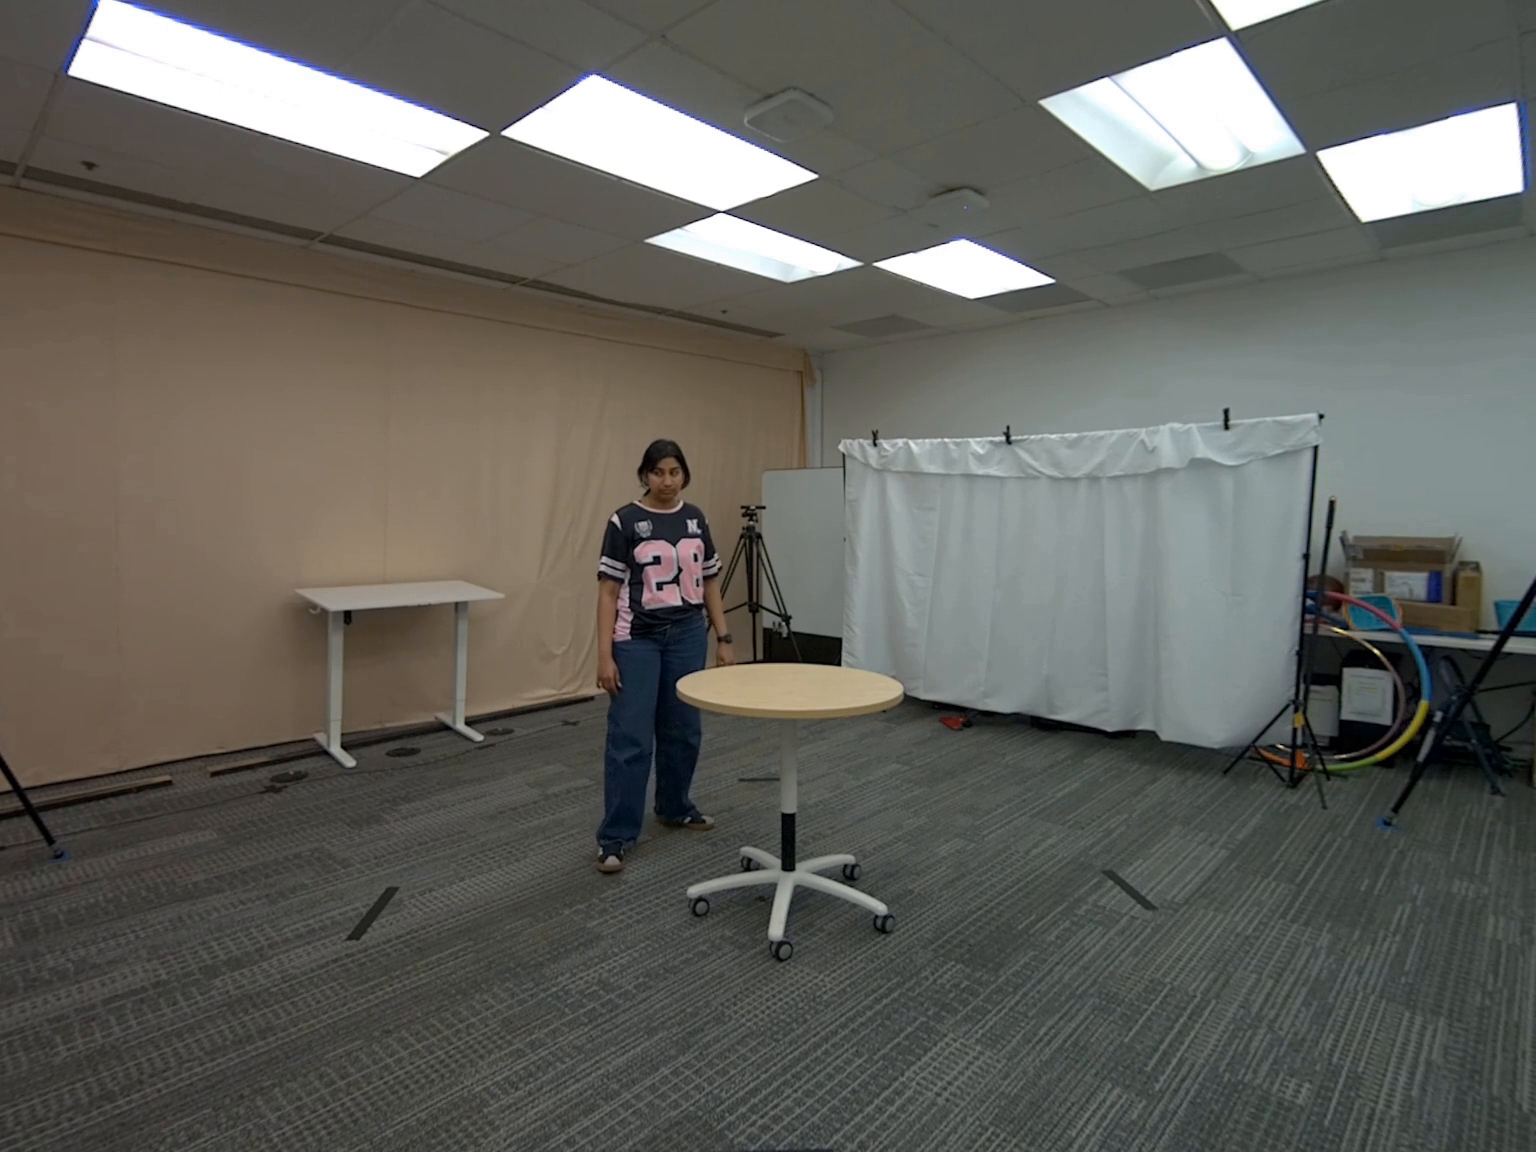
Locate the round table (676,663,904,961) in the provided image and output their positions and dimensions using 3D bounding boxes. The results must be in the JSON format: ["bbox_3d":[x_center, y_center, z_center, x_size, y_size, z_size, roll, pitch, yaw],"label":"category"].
[{"bbox_3d":[0.076,0.763,2.887,0.763,0.792,0.767,0,4,-2],"label":"round table"}]
